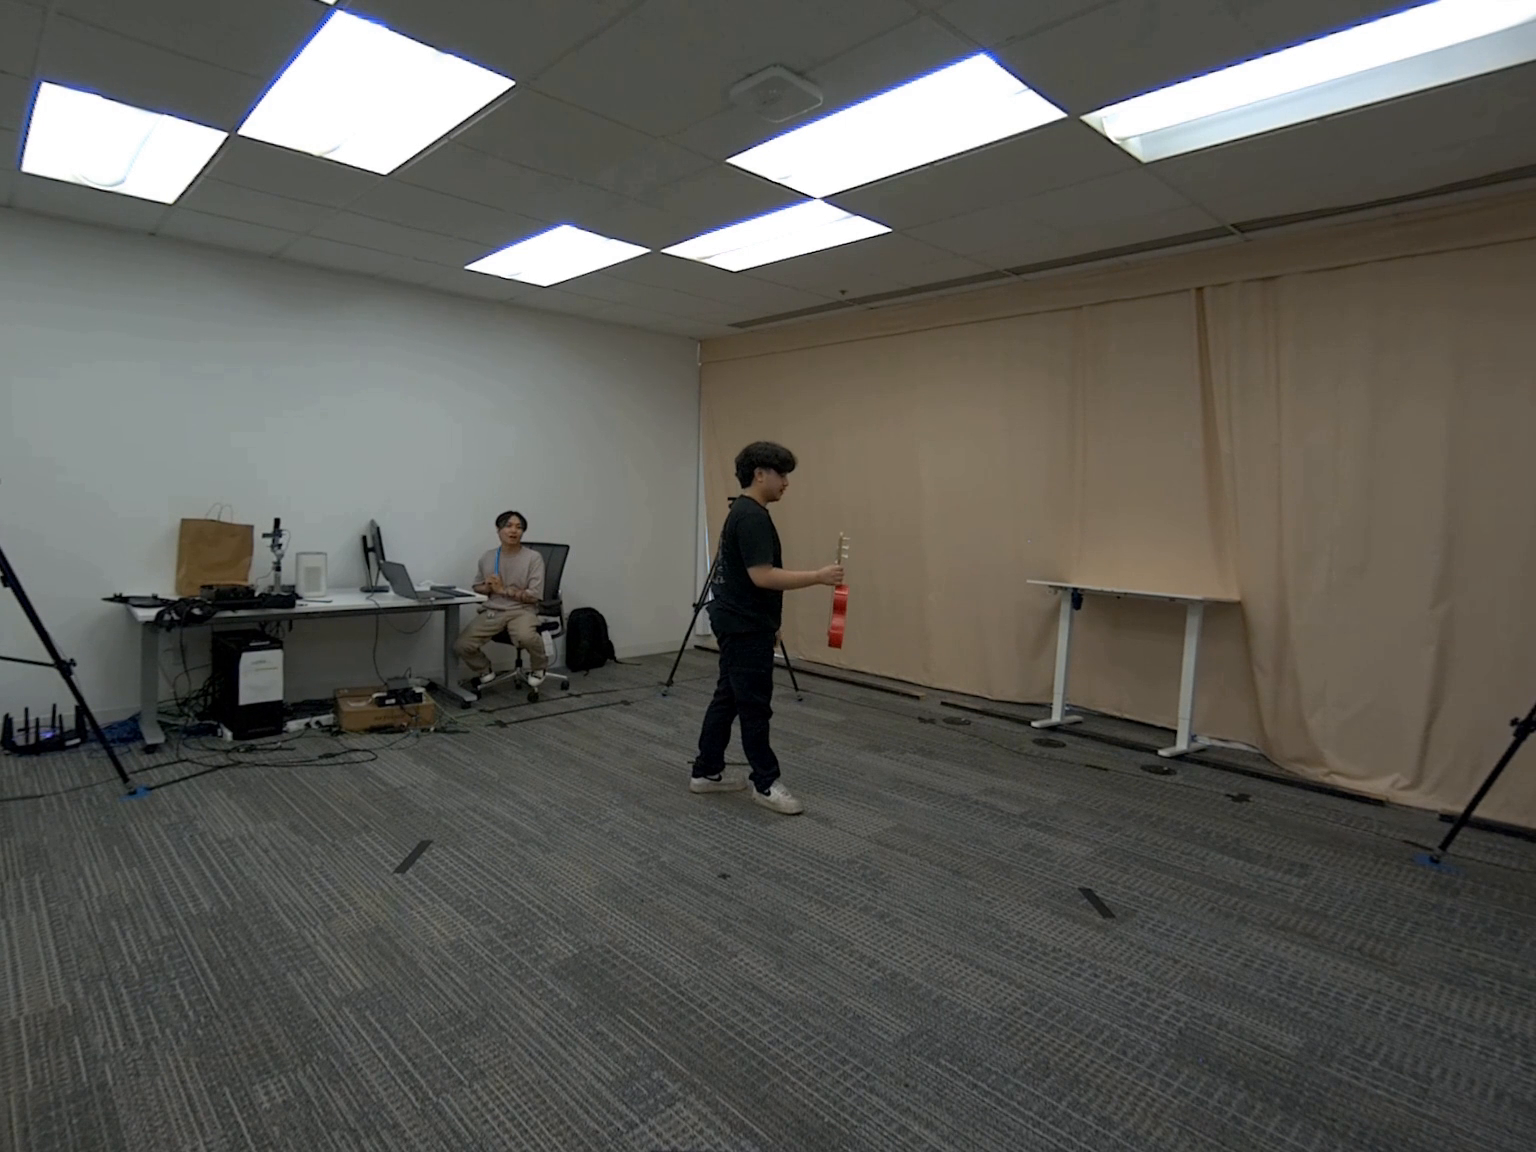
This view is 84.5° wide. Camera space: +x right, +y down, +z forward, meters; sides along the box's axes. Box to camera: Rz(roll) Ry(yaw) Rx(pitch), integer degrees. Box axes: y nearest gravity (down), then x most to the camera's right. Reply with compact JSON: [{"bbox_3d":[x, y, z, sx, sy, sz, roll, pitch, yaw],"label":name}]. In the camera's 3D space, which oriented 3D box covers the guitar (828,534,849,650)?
[{"bbox_3d":[0.300,0.072,3.627,0.071,0.492,0.193,8,17,8],"label":"guitar"}]
